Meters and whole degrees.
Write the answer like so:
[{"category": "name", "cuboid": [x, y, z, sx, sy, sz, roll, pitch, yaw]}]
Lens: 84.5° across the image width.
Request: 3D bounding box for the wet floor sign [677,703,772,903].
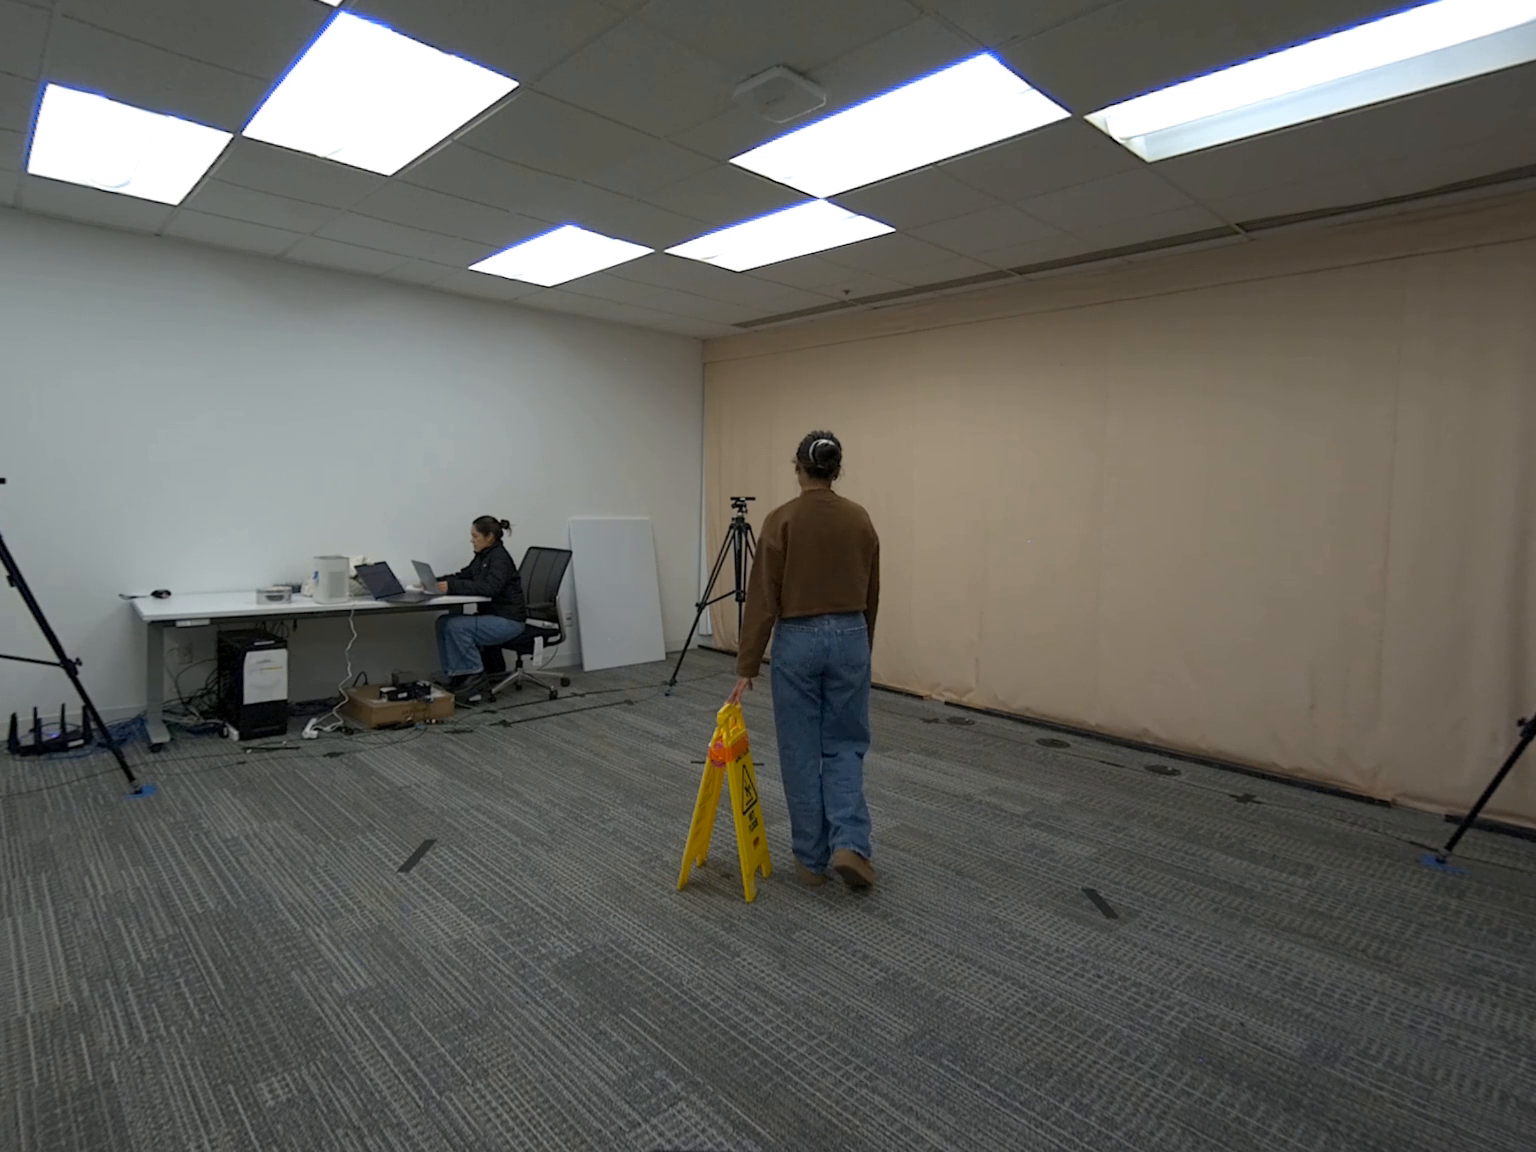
[{"category": "wet floor sign", "cuboid": [-0.150, 0.787, 3.042, 0.294, 0.644, 0.279, 3, 5, 17]}]
